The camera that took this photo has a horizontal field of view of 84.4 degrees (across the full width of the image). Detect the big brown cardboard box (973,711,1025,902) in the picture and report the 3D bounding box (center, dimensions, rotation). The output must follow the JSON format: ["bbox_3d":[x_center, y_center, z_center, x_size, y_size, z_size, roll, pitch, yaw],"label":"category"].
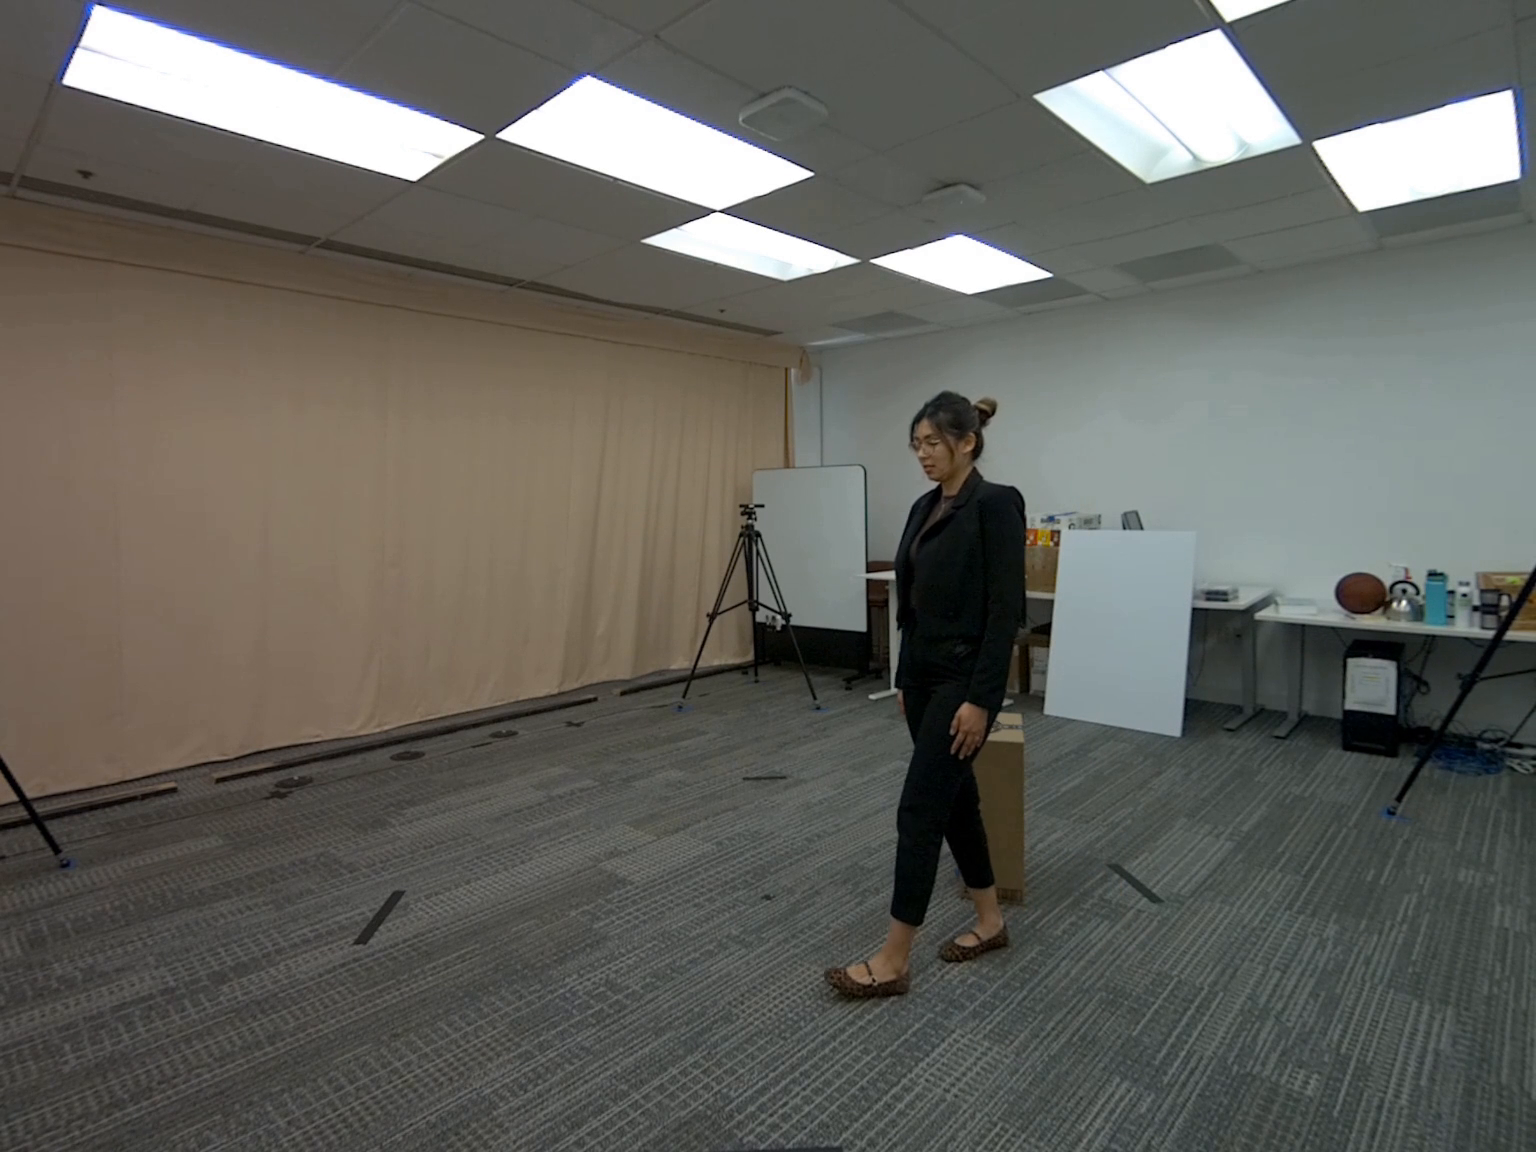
[{"bbox_3d":[0.833,0.836,3.103,0.237,0.588,0.411,1,2,16],"label":"big brown cardboard box"}]
